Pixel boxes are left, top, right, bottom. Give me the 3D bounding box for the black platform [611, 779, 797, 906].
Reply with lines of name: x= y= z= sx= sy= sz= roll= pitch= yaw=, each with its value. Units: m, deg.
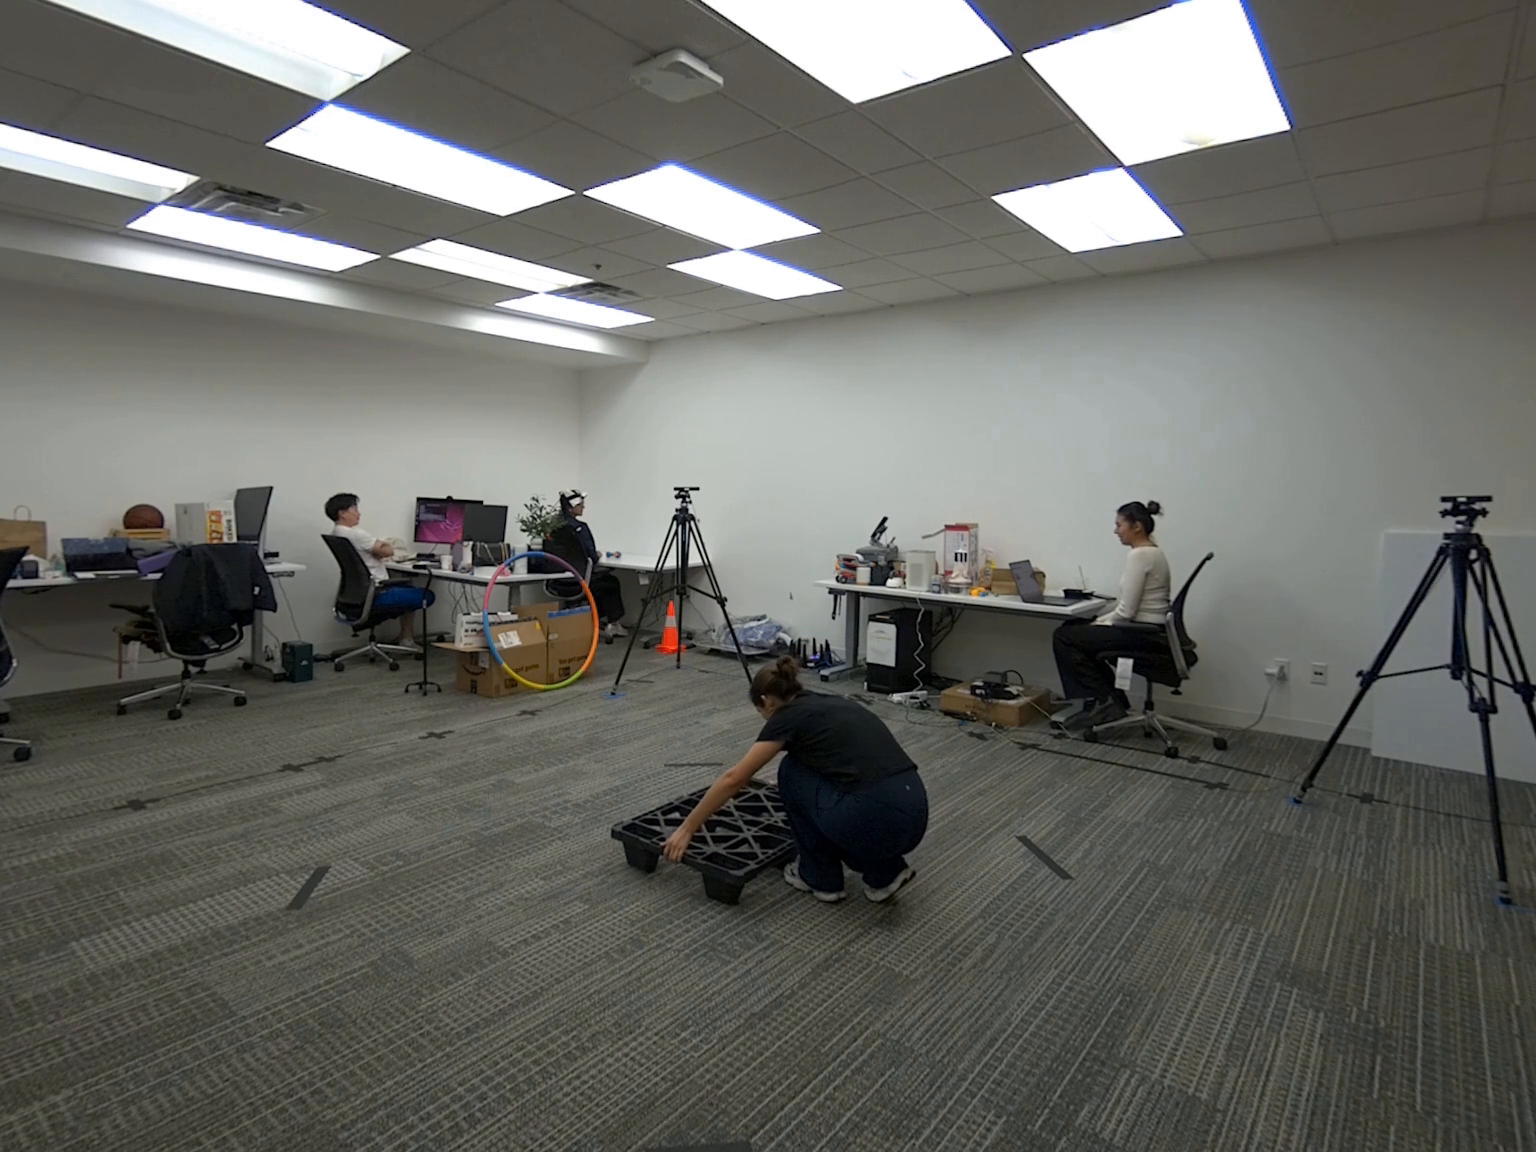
black platform: x=-0.100 y=0.981 z=3.268 sx=0.625 sy=0.142 sz=0.783 roll=7 pitch=8 yaw=36
